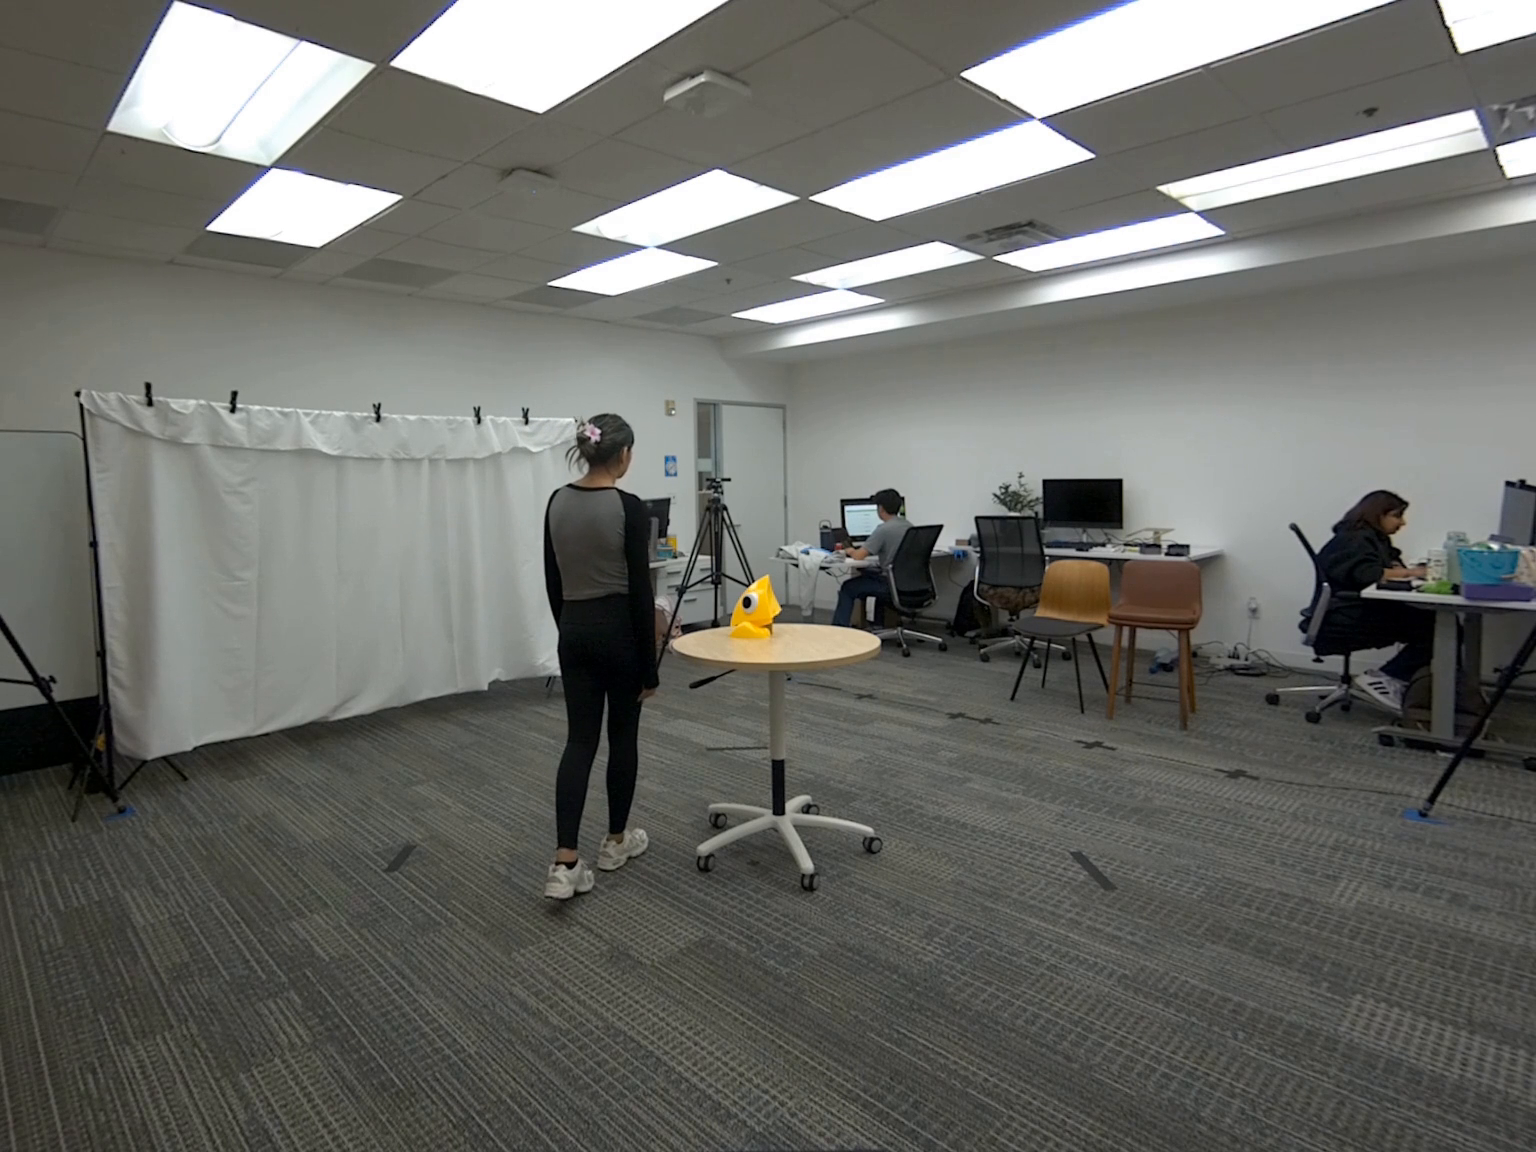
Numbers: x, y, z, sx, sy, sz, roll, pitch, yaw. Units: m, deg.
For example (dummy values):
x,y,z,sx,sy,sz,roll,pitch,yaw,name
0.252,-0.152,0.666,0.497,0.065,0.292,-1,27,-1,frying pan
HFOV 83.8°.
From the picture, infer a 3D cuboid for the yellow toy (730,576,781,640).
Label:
x,y,z,sx,sy,sz,roll,pitch,yaw,name
-0.051,0.110,3.320,0.196,0.230,0.203,0,5,13,yellow toy
